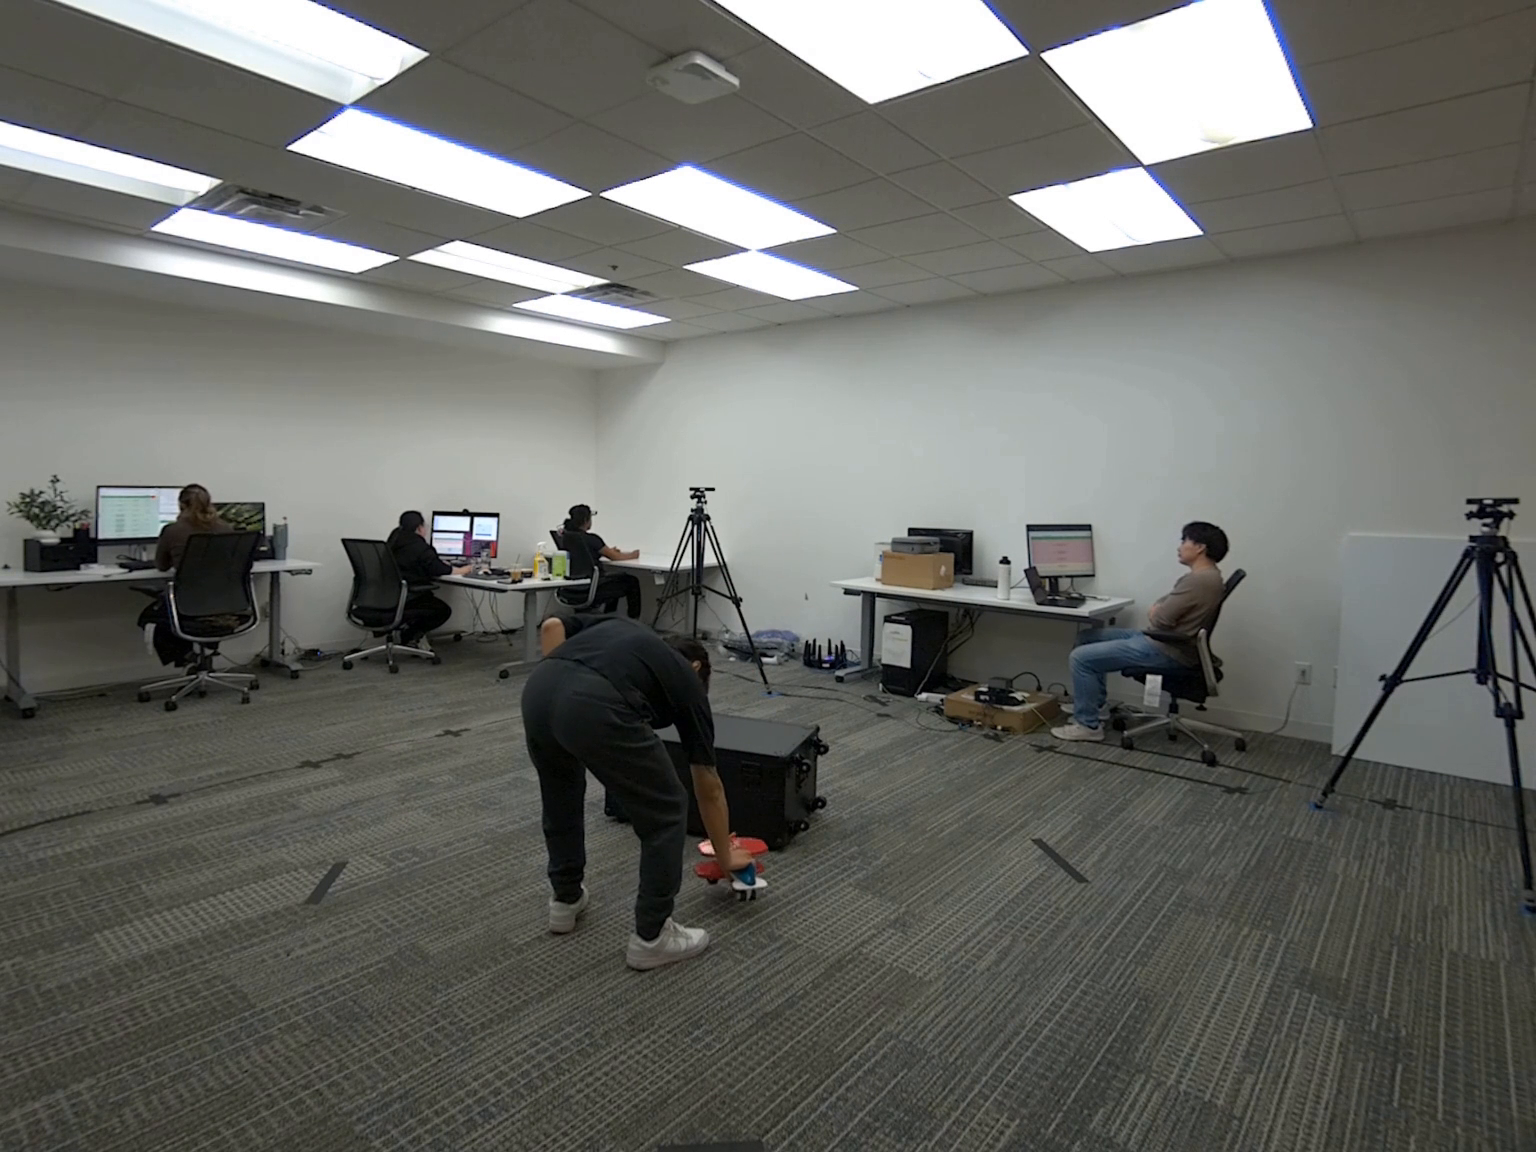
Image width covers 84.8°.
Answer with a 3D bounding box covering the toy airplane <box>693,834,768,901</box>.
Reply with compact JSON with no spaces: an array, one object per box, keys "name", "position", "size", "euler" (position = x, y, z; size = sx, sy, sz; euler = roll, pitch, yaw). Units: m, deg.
[{"name":"toy airplane","position":[-0.103,0.976,2.874],"size":[0.267,0.157,0.243],"euler":[1,-3,34]}]
